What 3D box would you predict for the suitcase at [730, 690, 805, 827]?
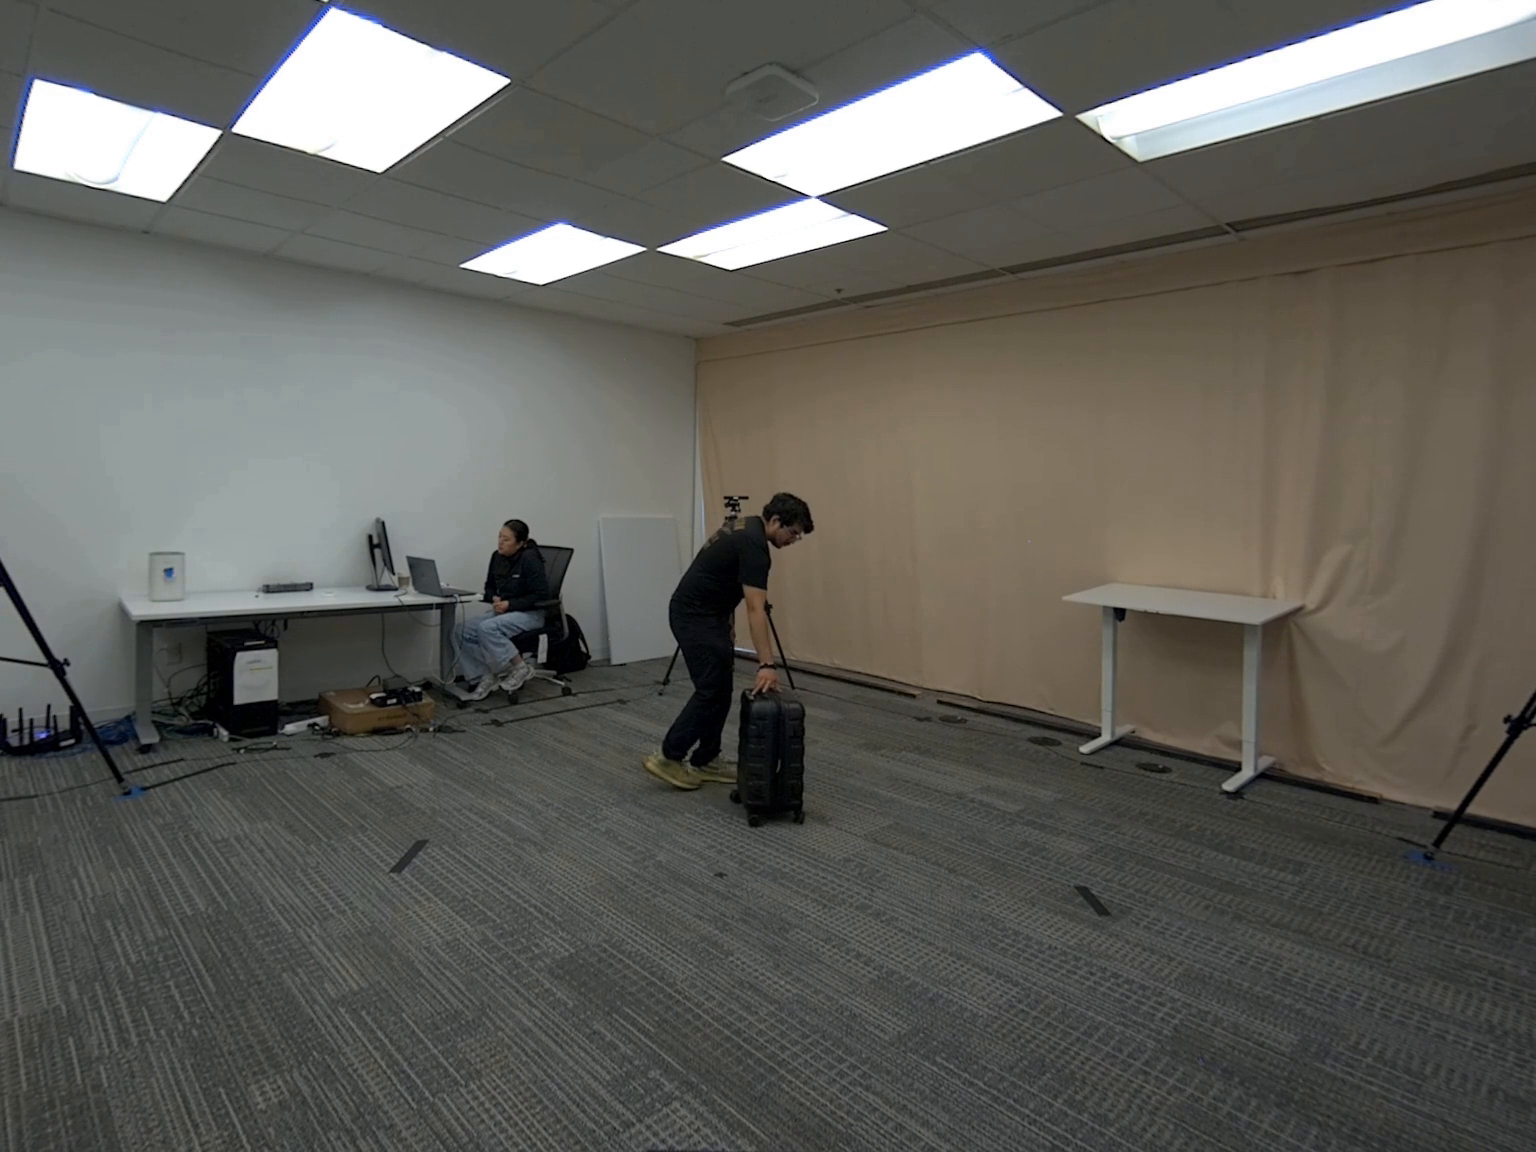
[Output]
[{"bbox_3d":[0.008,0.775,3.737,0.246,0.548,0.379,1,3,-10],"label":"suitcase"}]
